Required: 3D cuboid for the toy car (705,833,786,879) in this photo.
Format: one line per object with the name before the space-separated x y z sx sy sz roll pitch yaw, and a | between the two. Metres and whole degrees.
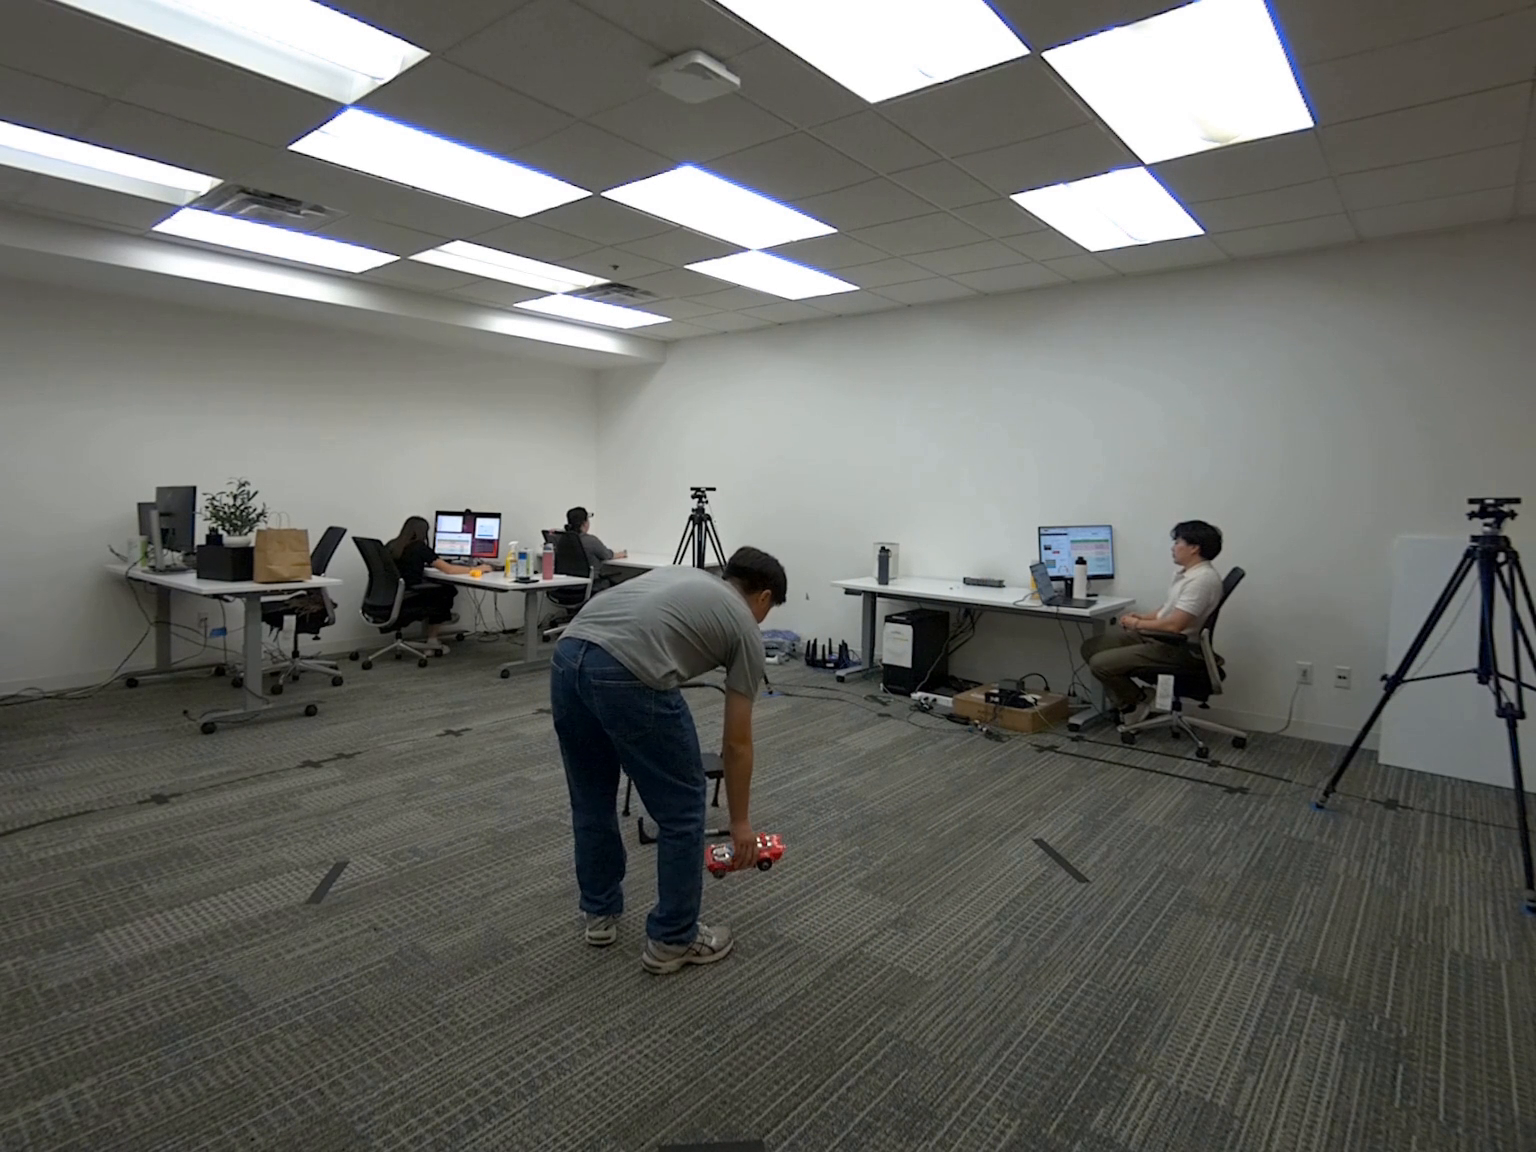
toy car | -0.078 0.880 2.685 0.253 0.081 0.134 -21 23 -7
